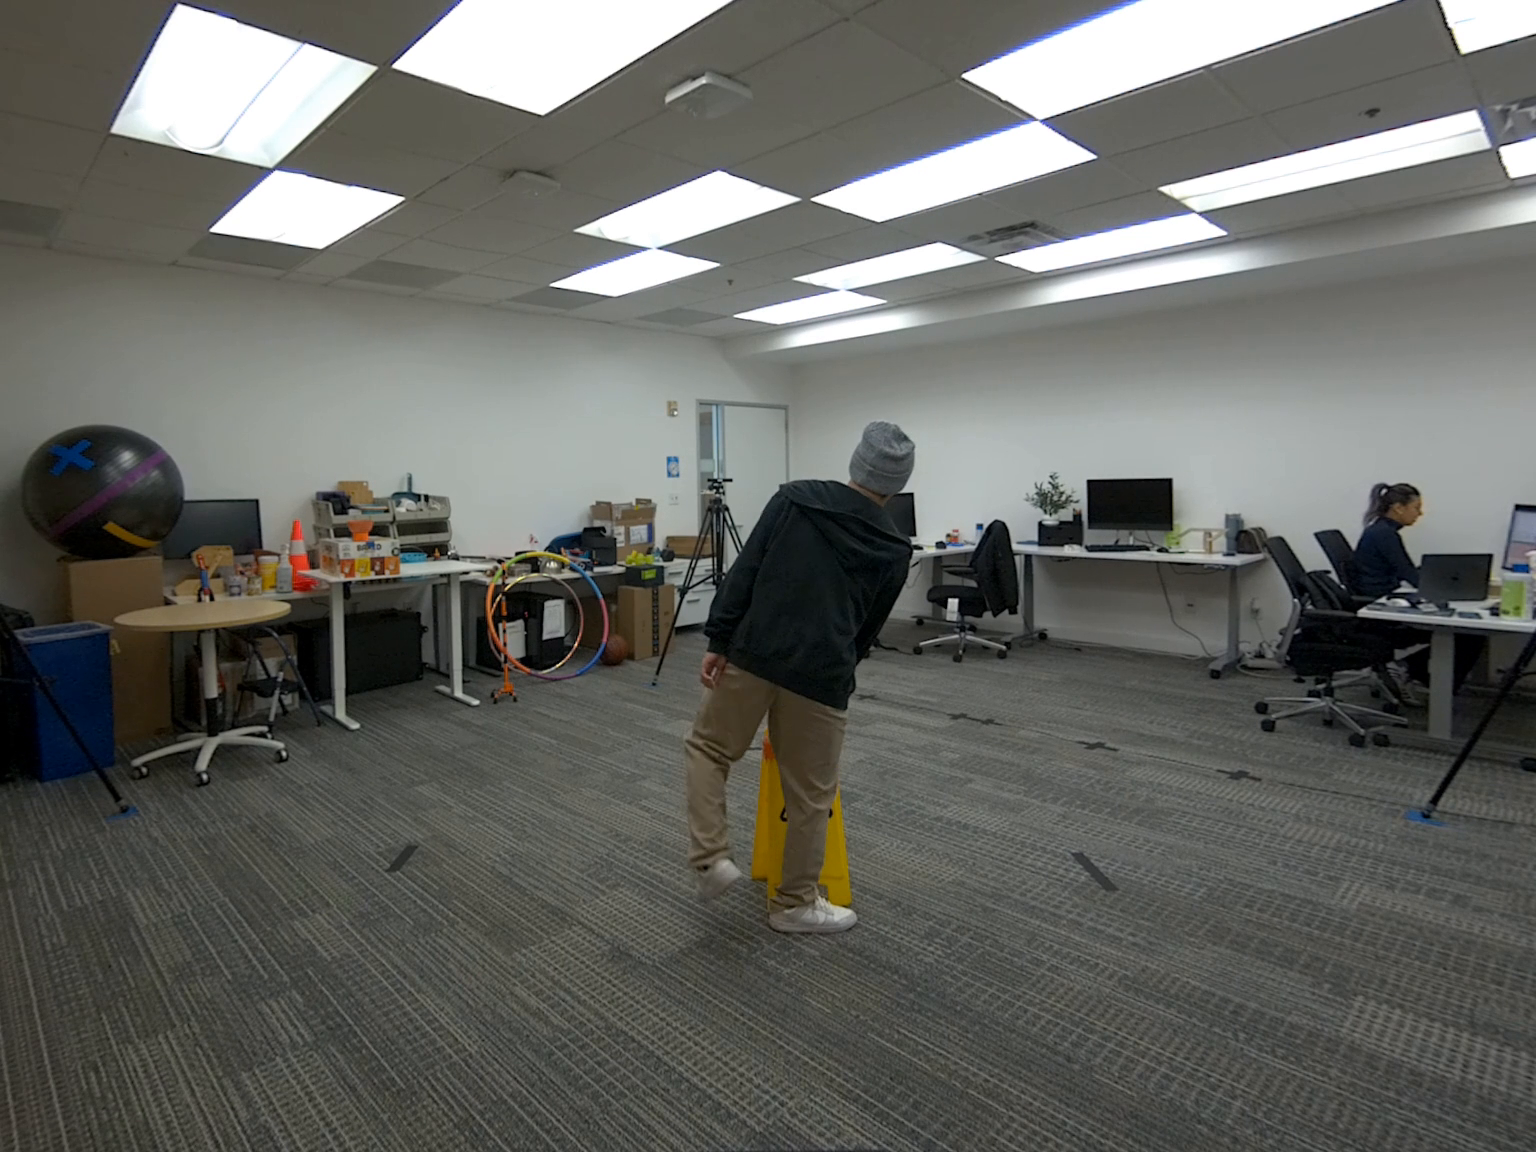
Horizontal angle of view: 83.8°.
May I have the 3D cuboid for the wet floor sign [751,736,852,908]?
[{"bbox_3d":[0.111,0.740,2.869,0.279,0.644,0.294,-3,4,-13],"label":"wet floor sign"}]
